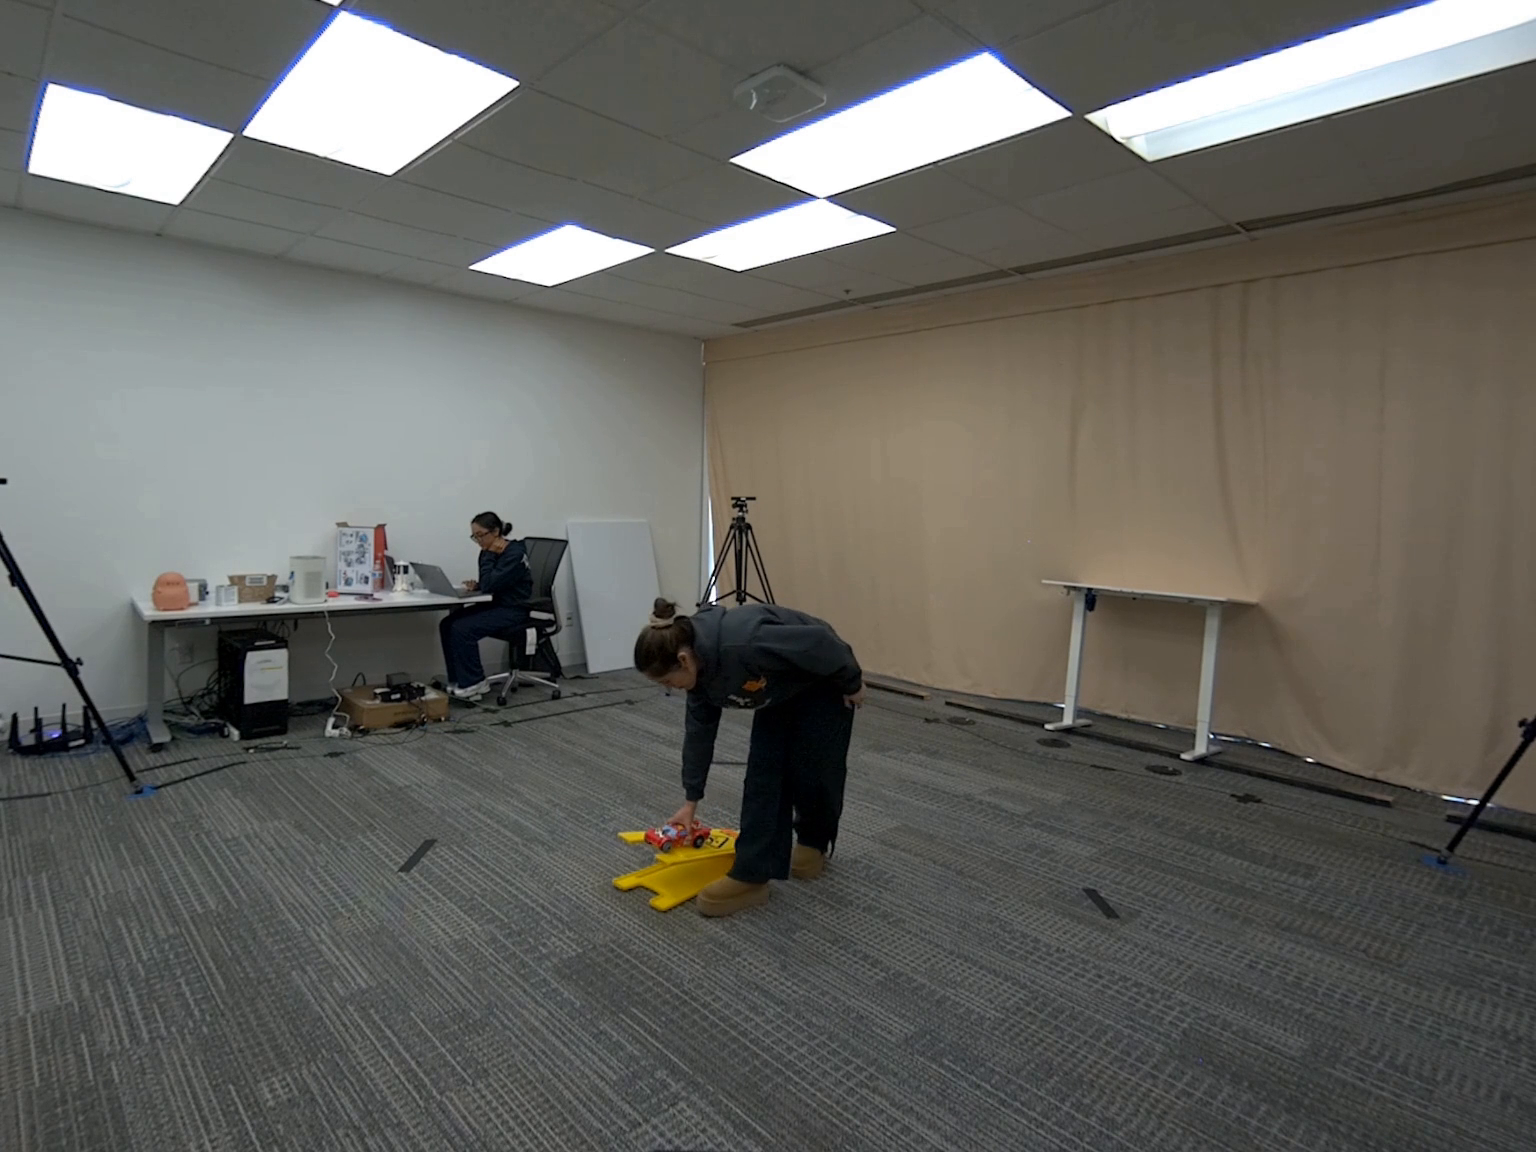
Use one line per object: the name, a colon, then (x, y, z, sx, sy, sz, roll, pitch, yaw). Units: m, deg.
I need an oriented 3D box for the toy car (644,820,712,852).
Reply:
toy car: (-0.318, 0.928, 3.017, 0.249, 0.083, 0.134, -6, 10, -43)
